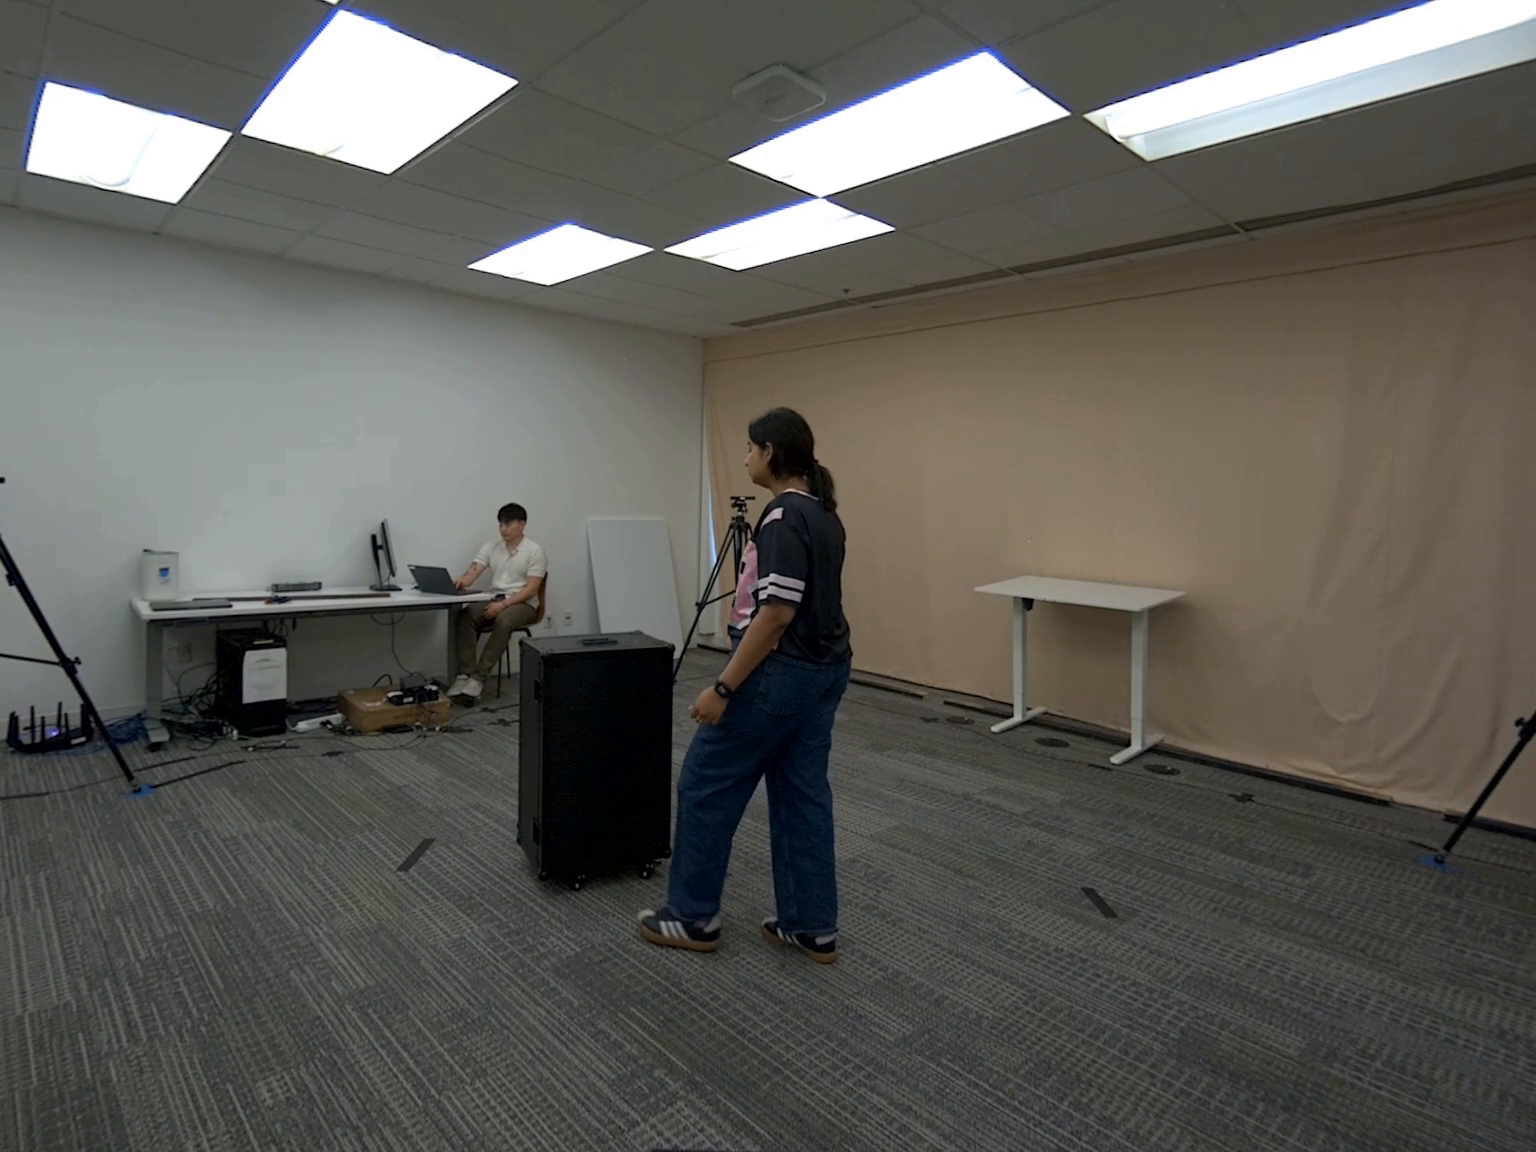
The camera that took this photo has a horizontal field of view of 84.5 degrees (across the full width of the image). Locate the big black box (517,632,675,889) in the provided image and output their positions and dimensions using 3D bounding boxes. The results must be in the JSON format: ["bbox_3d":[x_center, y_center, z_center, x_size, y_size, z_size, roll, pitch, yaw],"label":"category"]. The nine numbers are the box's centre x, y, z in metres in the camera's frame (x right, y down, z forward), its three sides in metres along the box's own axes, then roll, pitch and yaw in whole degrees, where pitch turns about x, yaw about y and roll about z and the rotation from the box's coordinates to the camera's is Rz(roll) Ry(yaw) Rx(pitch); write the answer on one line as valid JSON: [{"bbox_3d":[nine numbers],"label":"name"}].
[{"bbox_3d":[-0.657,0.670,3.113,0.513,0.867,0.393,0,3,-29],"label":"big black box"}]
